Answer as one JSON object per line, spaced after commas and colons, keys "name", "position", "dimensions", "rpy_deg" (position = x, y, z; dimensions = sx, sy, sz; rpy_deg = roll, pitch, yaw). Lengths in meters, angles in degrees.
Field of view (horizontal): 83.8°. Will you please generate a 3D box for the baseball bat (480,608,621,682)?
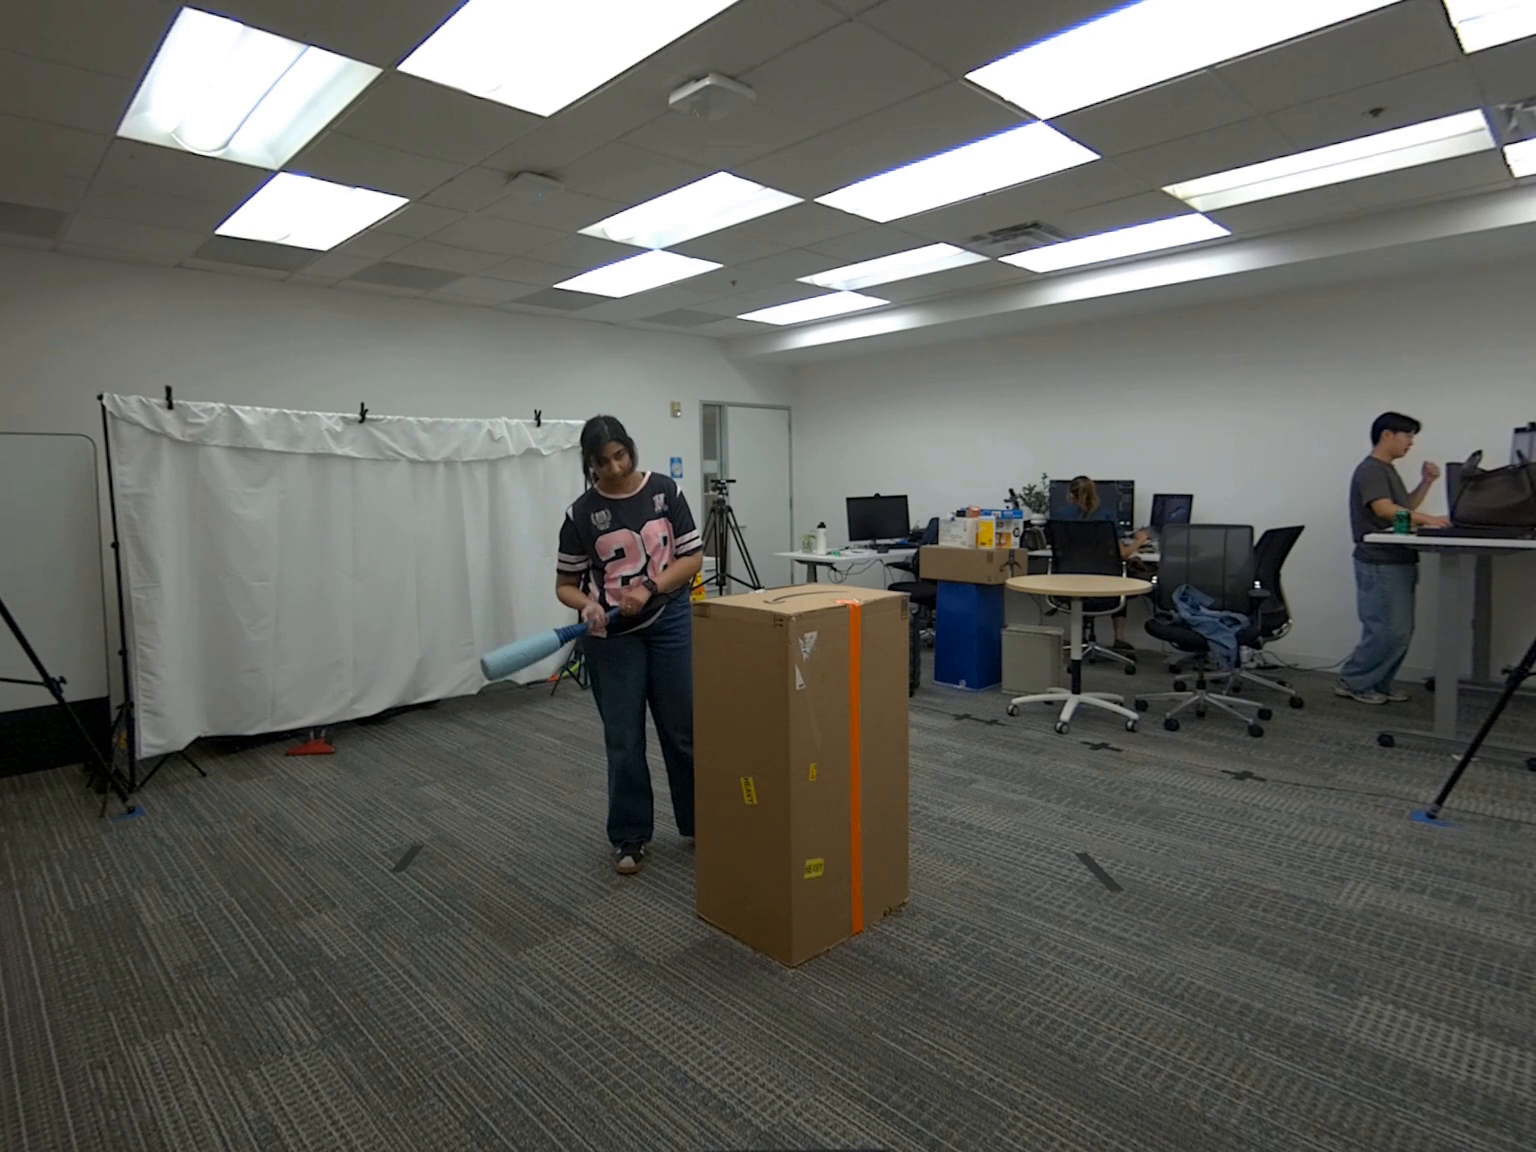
{"name": "baseball bat", "position": [-0.666, 0.191, 2.791], "dimensions": [0.536, 0.088, 0.091], "rpy_deg": [-24, 16, -29]}
